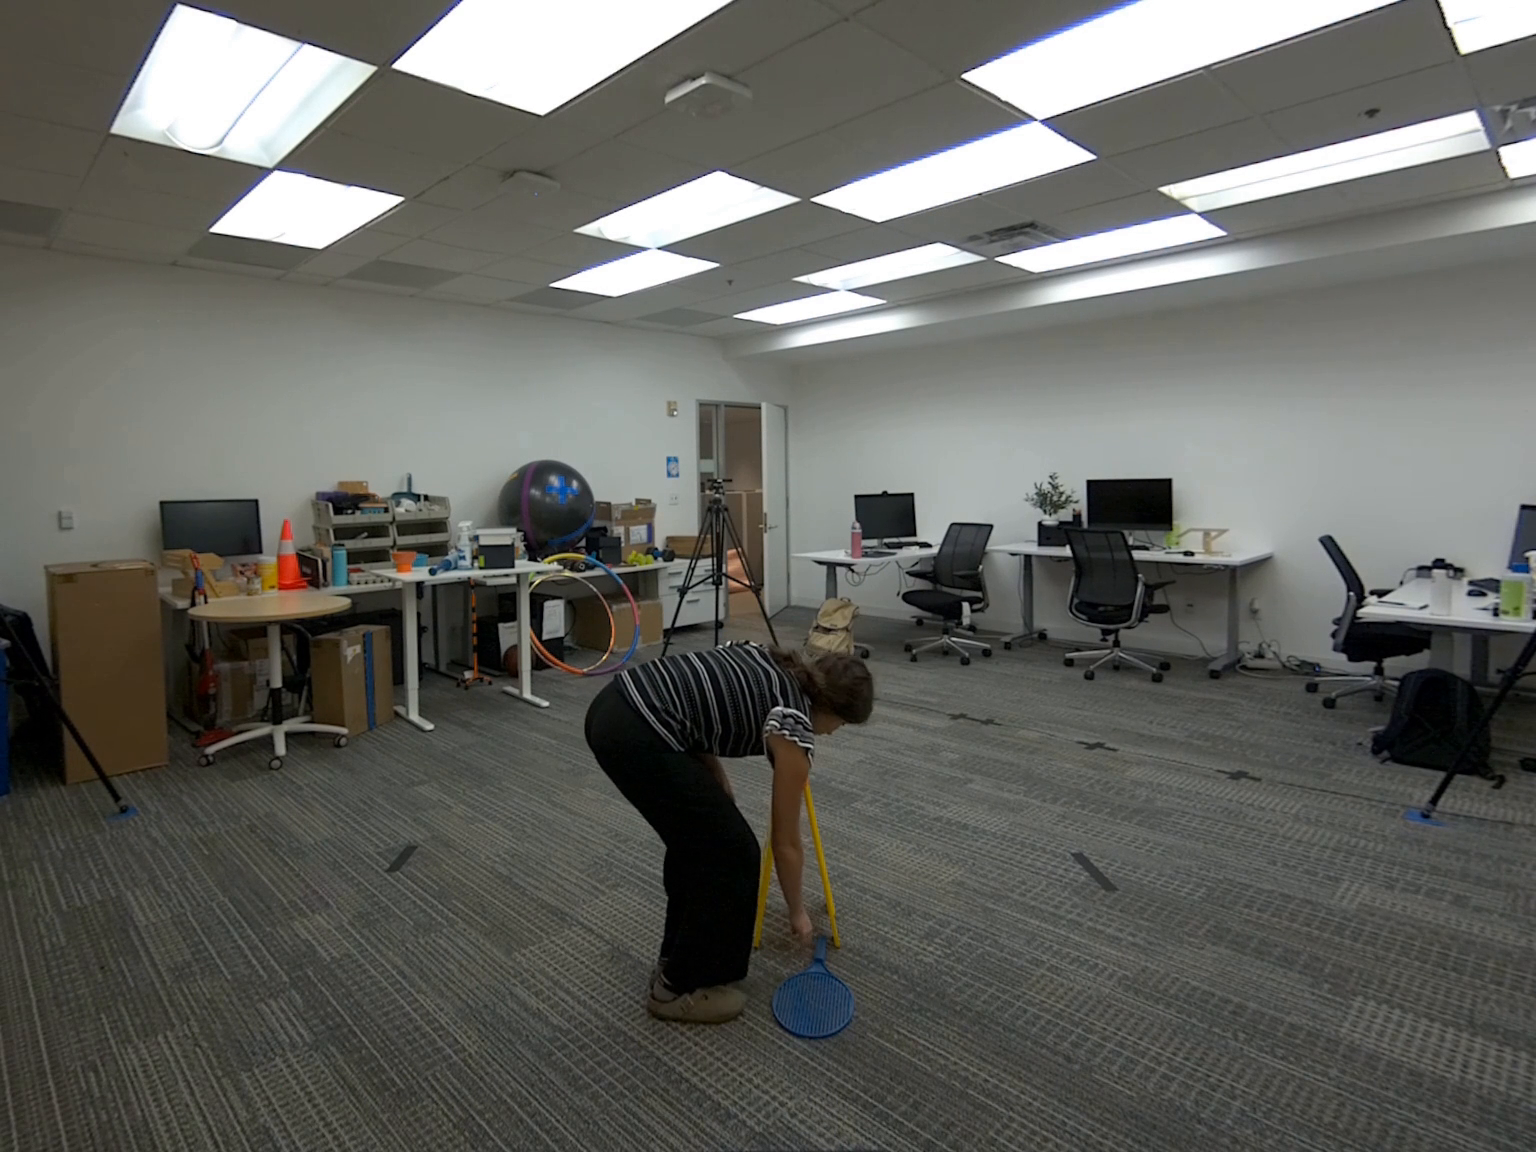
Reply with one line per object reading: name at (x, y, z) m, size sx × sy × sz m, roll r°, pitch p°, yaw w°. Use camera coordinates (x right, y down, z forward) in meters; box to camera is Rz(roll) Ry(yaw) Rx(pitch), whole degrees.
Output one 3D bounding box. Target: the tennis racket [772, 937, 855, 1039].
tennis racket at (0.131, 1.105, 2.356) m, size 0.216 × 0.031 × 0.431 m, roll 1°, pitch 8°, yaw 9°
